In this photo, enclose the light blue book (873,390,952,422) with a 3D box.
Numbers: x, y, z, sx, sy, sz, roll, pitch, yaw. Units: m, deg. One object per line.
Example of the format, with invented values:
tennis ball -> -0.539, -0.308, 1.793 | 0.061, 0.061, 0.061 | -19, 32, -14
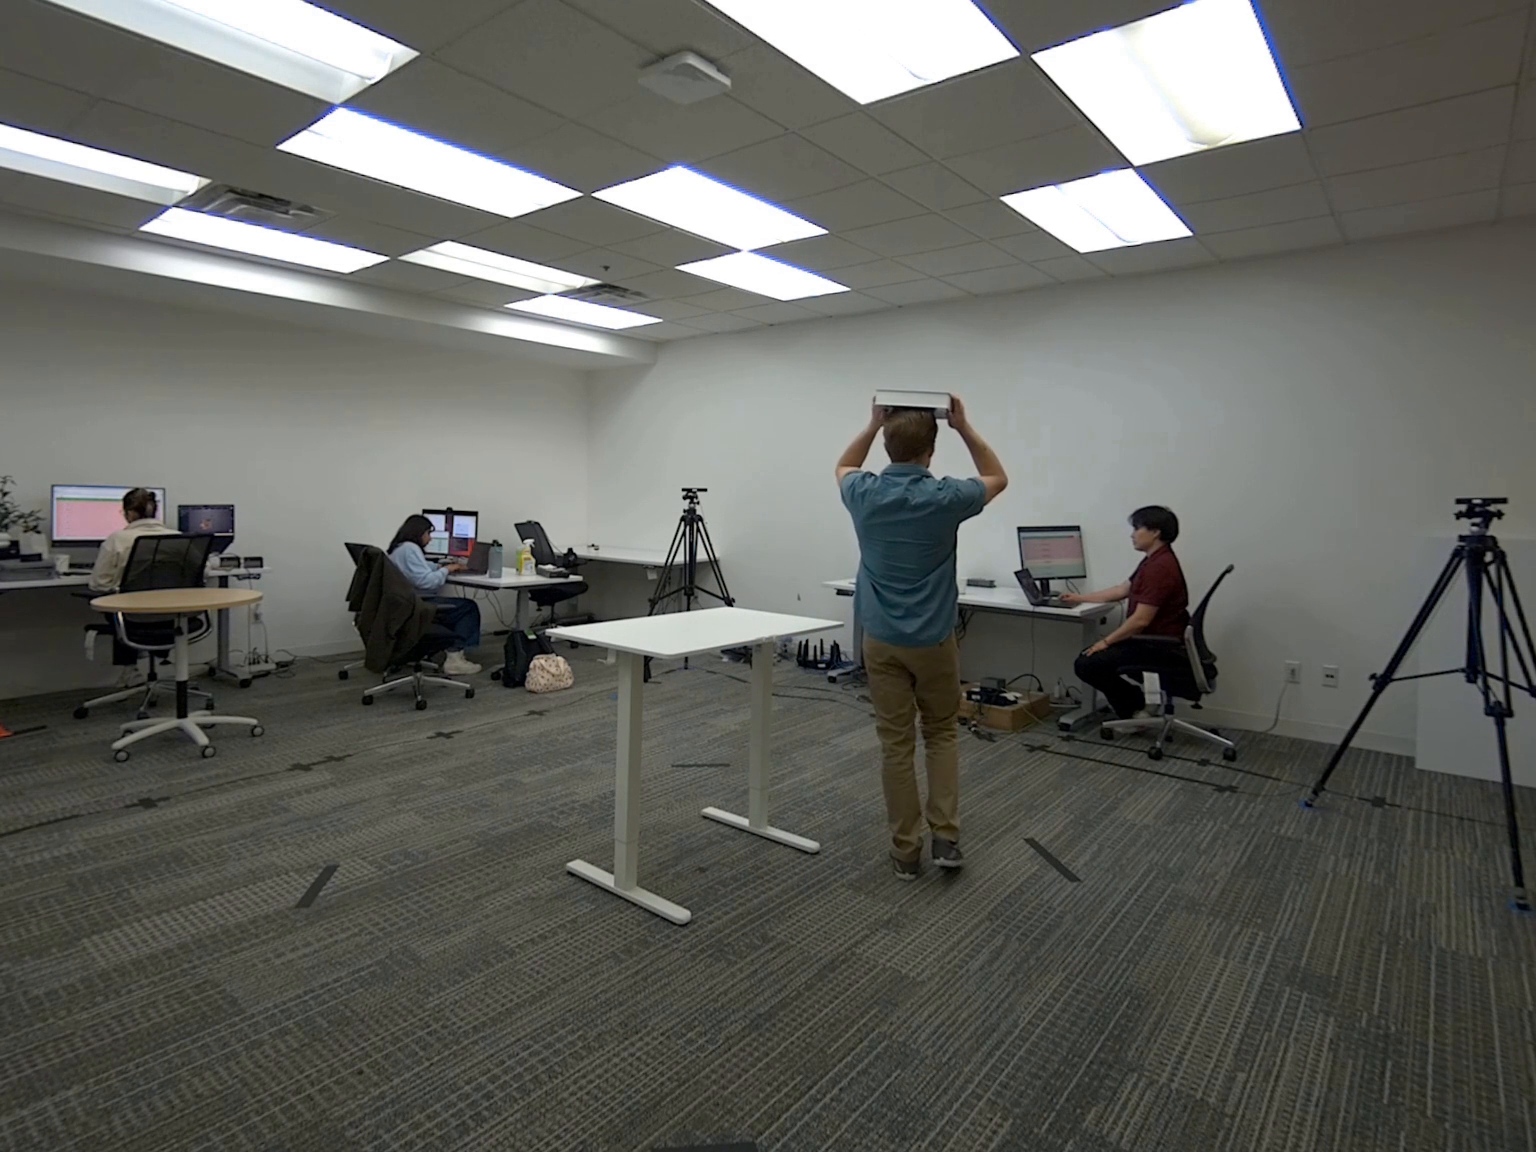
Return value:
light blue book -> 0.524, -0.618, 3.076 | 0.267, 0.059, 0.187 | 8, -3, 18
